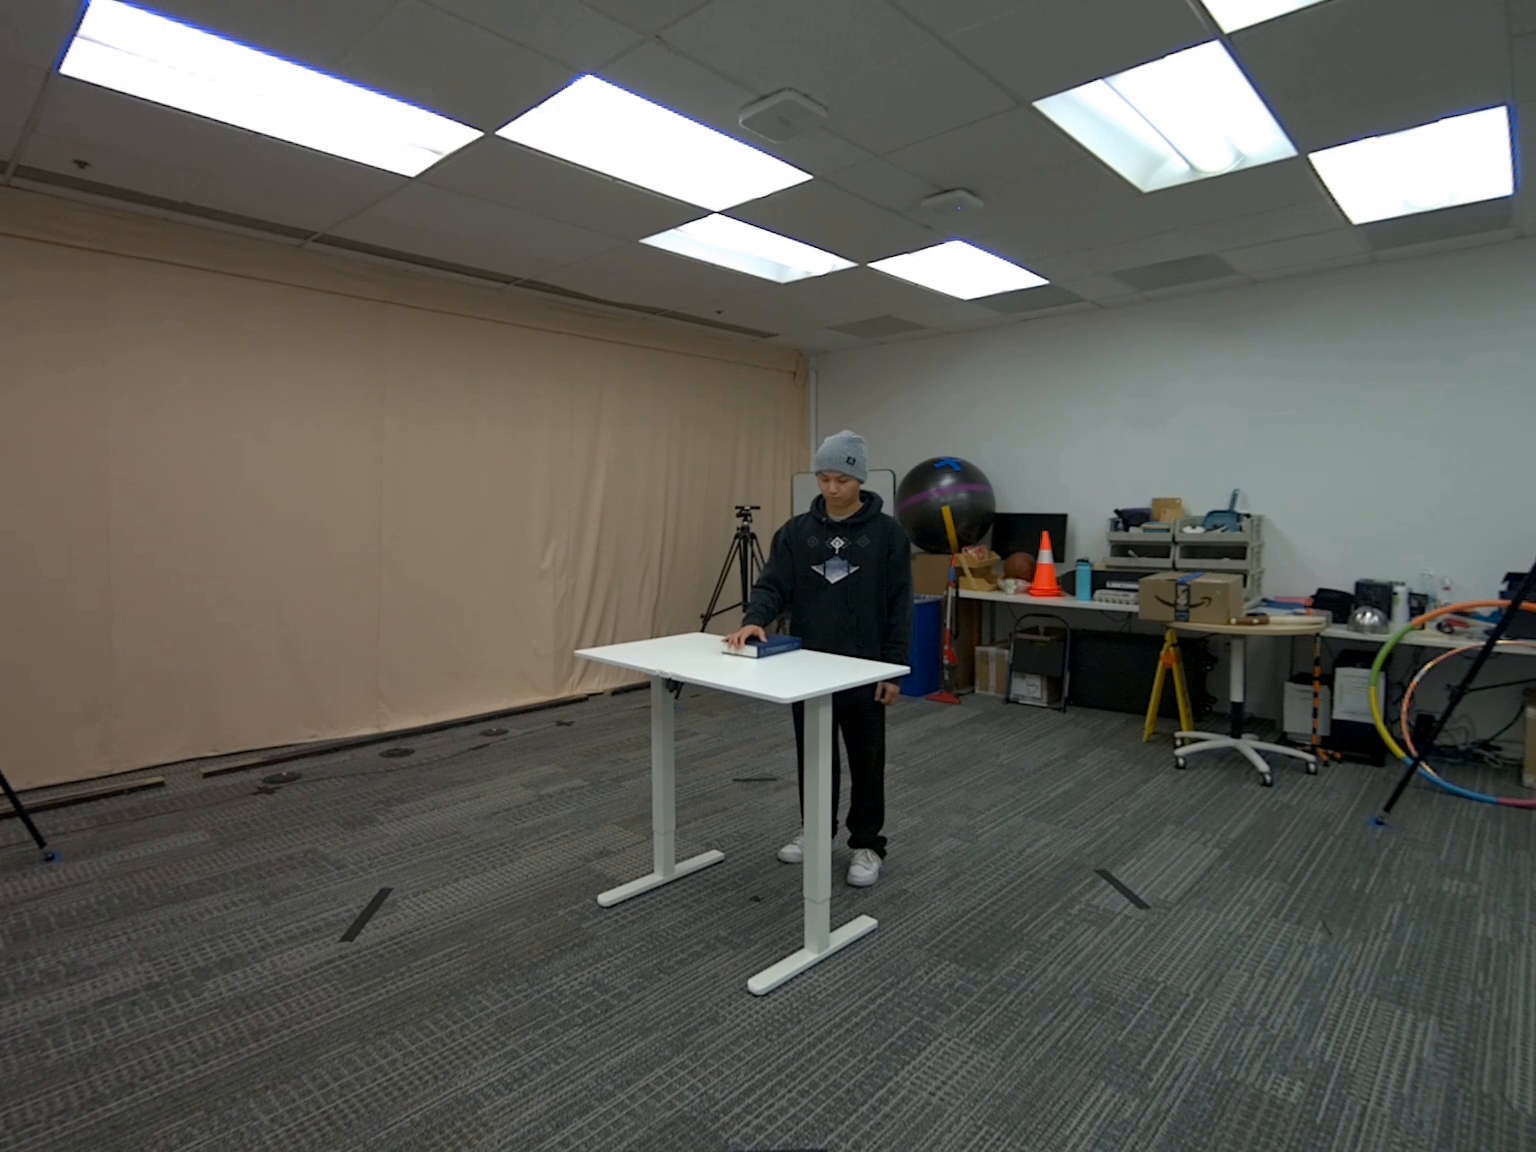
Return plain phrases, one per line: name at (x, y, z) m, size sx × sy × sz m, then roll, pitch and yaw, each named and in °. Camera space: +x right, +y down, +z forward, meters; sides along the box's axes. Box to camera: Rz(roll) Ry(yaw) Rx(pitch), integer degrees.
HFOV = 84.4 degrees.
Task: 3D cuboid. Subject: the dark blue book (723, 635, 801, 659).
dark blue book at (-0.025, 0.245, 2.950) m, size 0.169 × 0.045 × 0.238 m, roll 4°, pitch 7°, yaw 41°
